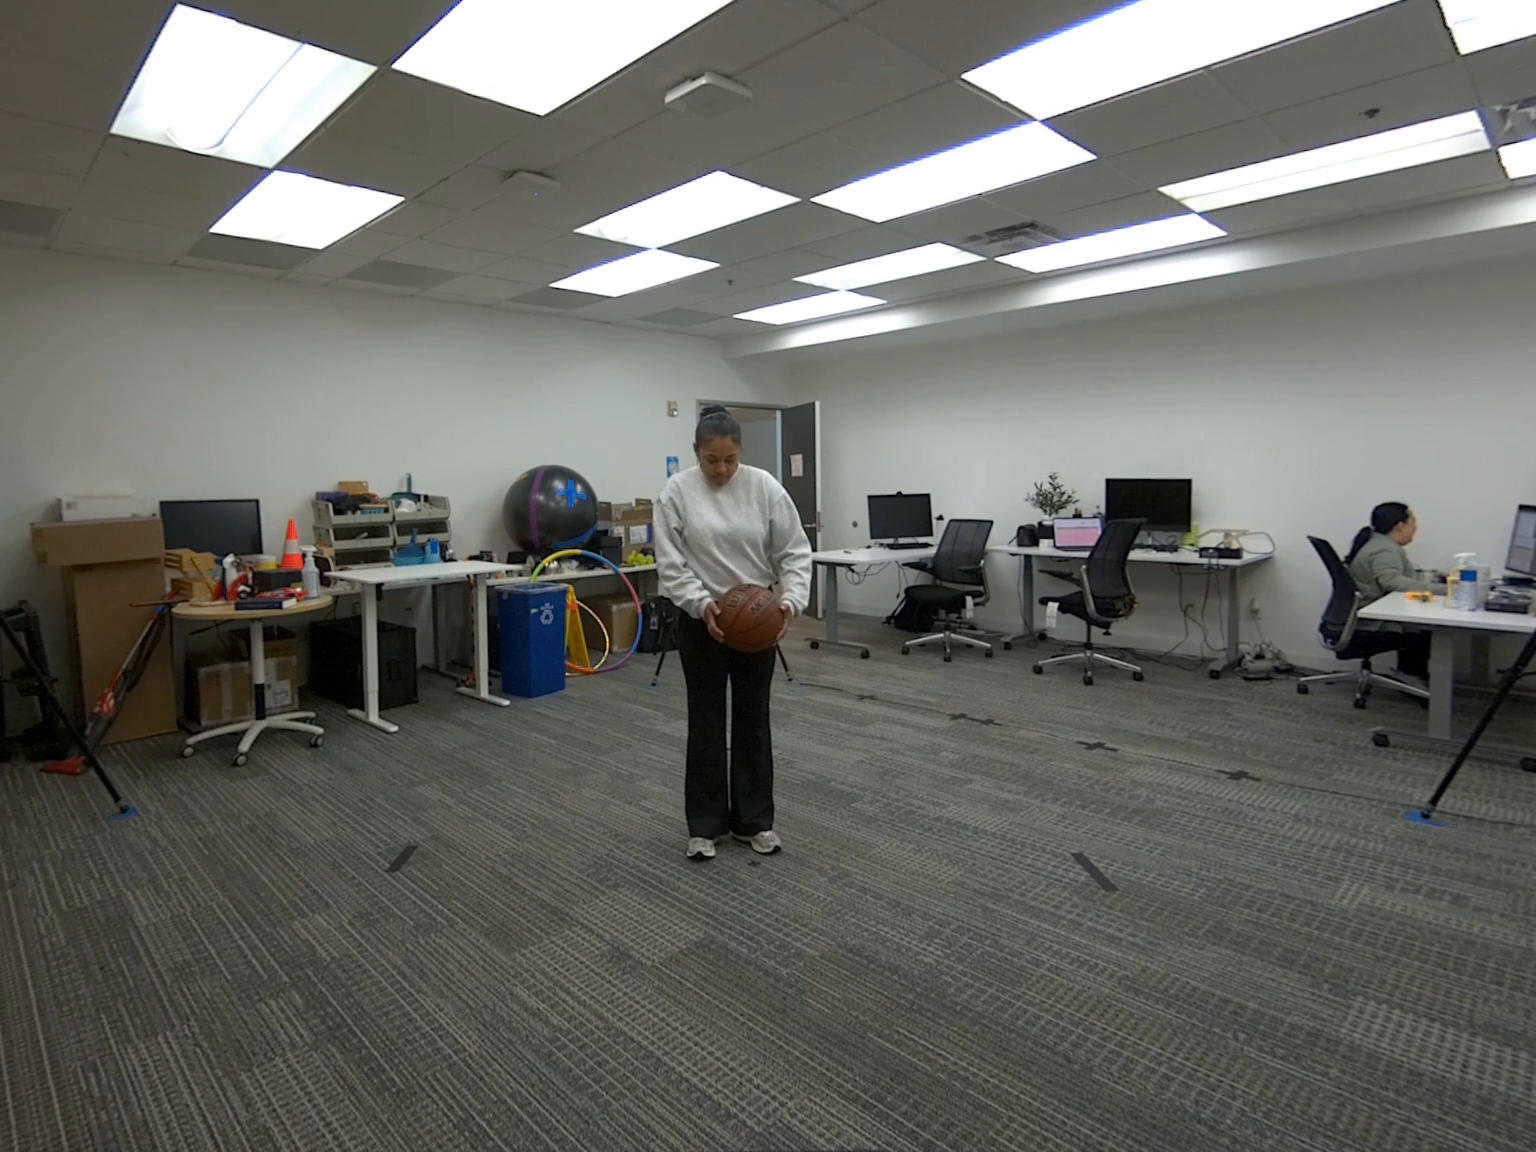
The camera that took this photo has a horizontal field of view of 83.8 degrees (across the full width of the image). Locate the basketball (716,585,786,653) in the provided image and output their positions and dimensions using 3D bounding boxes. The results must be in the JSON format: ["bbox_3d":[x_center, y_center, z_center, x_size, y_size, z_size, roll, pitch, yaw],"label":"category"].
[{"bbox_3d":[-0.081,0.141,2.981,0.236,0.235,0.237,-1,5,-2],"label":"basketball"}]
